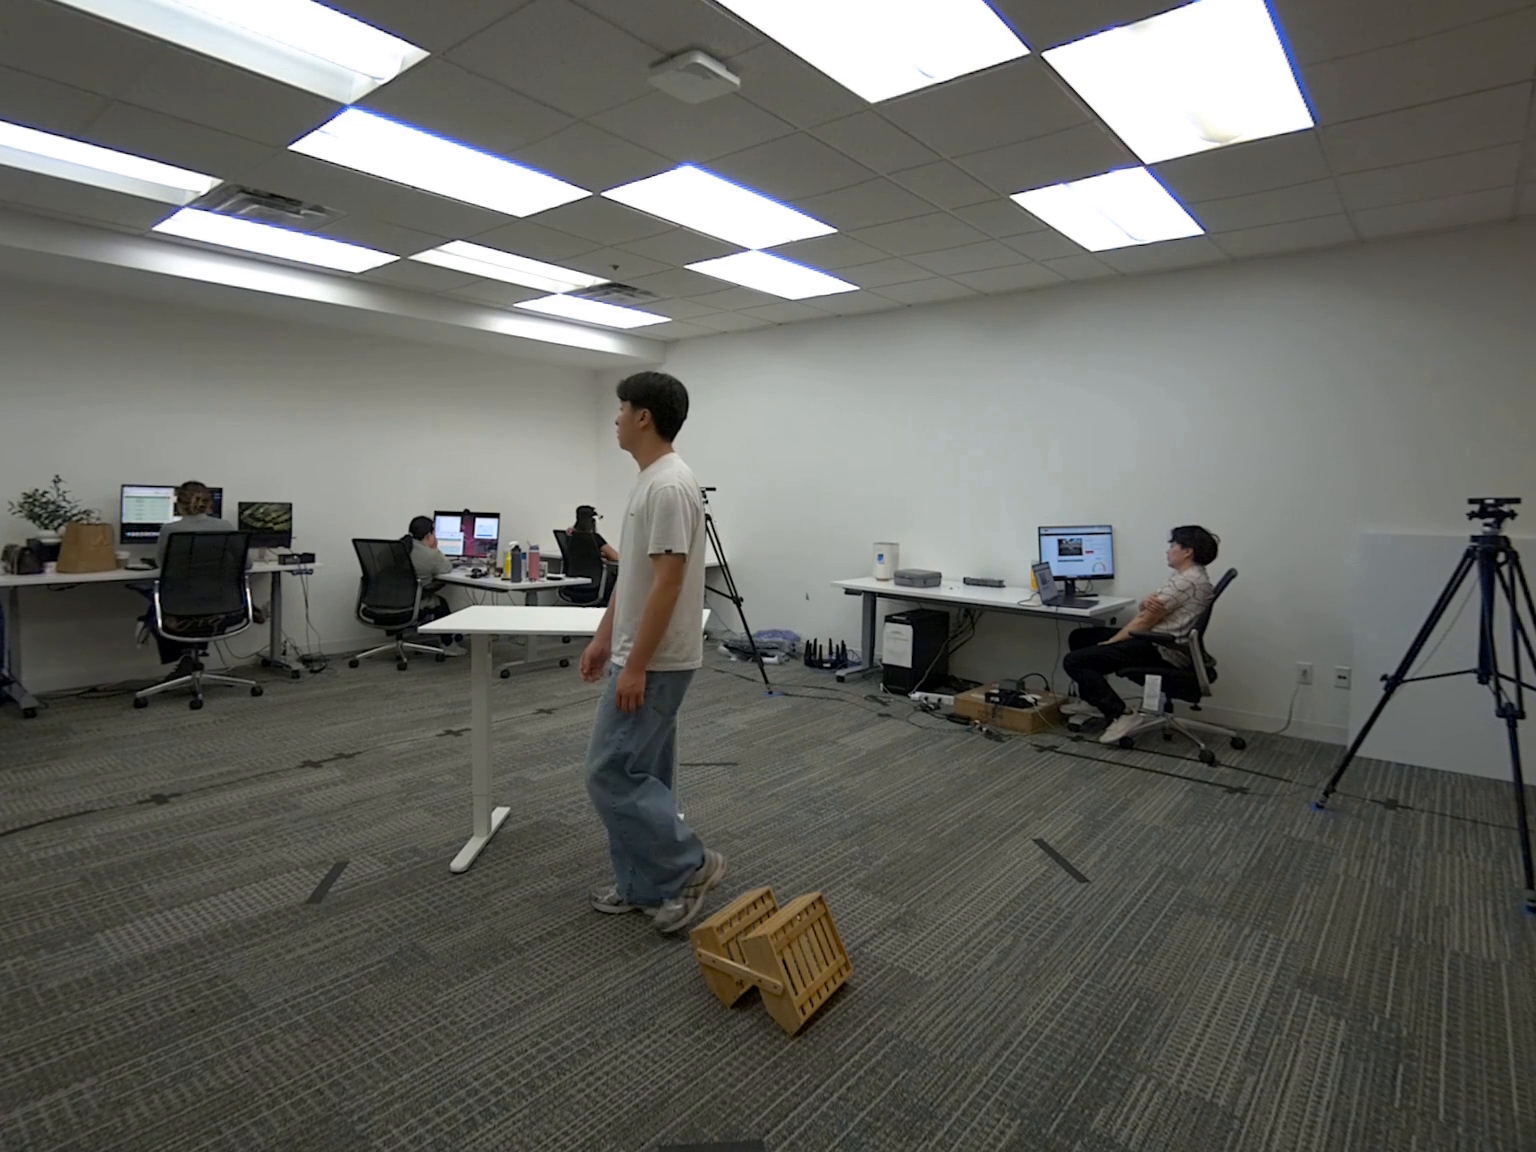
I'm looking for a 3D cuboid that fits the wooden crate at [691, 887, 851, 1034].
[{"bbox_3d":[0.005,1.056,2.367,0.276,0.307,0.315,-29,-13,31],"label":"wooden crate"}]
